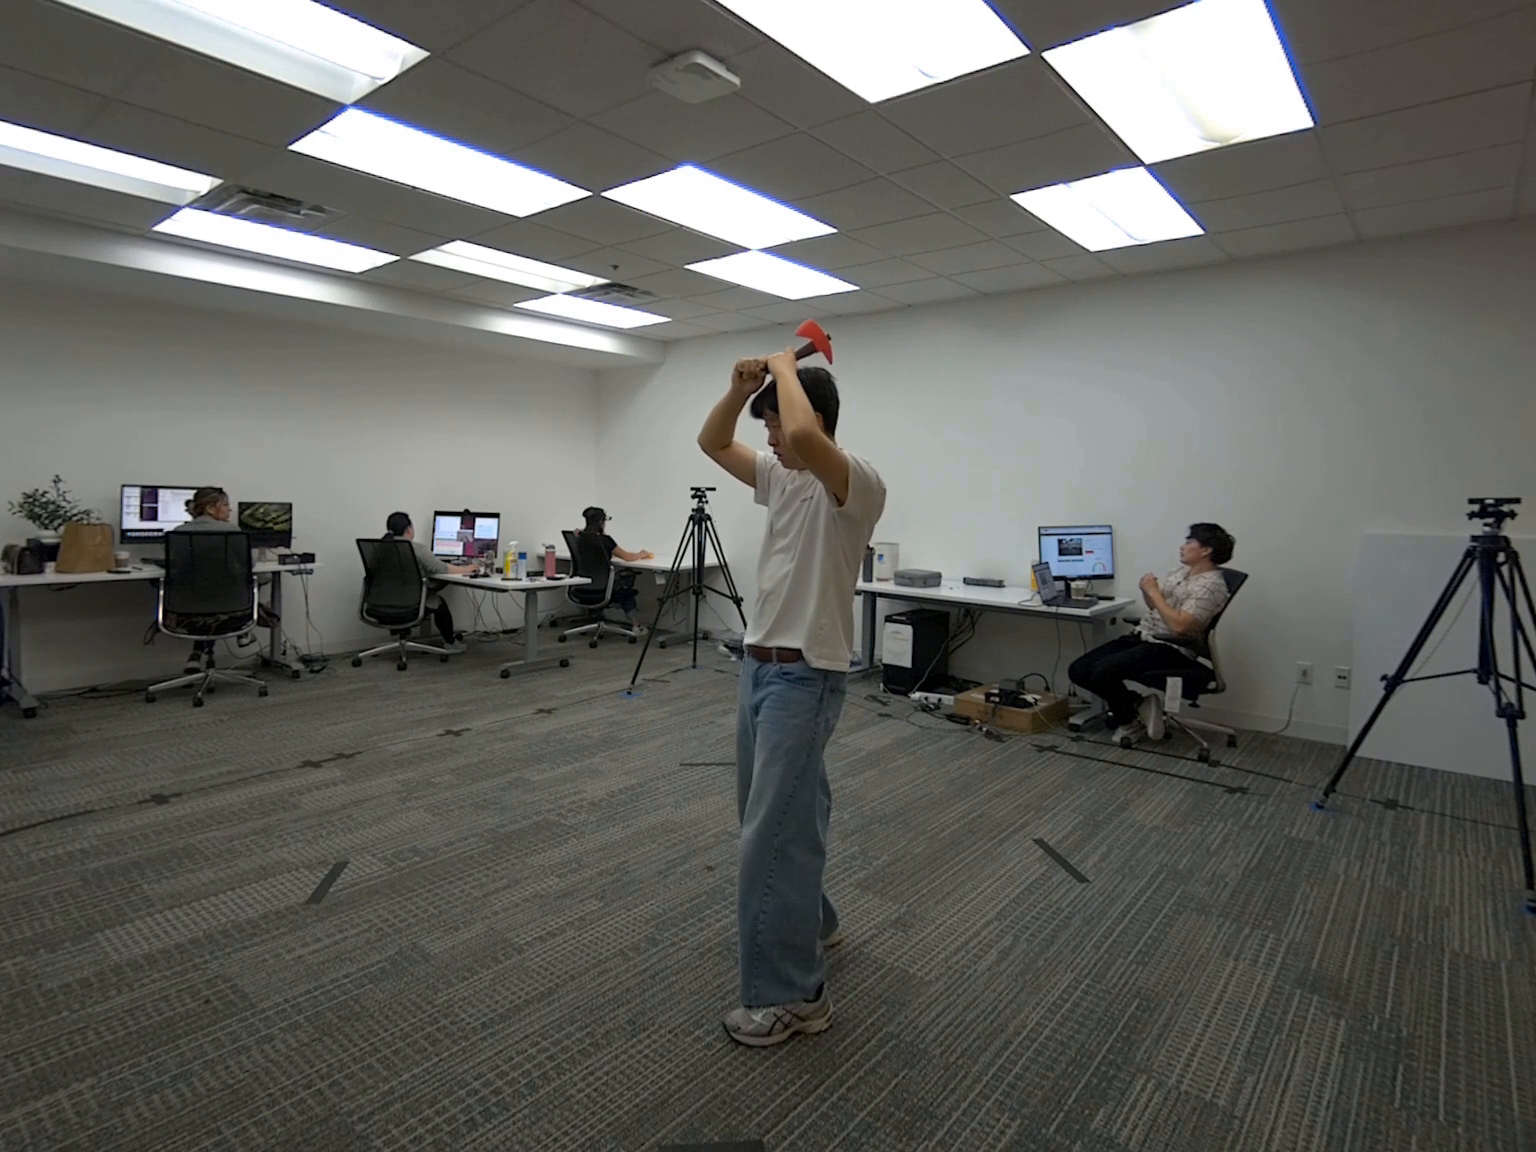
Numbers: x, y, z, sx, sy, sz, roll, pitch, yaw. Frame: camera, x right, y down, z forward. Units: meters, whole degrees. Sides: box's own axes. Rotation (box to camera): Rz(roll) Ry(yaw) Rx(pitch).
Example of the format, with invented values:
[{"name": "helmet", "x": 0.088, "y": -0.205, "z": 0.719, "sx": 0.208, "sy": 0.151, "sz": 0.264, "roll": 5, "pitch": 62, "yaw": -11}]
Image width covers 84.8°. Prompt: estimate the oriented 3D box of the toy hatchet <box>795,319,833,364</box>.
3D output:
[{"name": "toy hatchet", "x": 0.032, "y": -0.626, "z": 2.300, "sx": 0.269, "sy": 0.130, "sz": 0.030, "roll": -11, "pitch": 8, "yaw": -5}]
